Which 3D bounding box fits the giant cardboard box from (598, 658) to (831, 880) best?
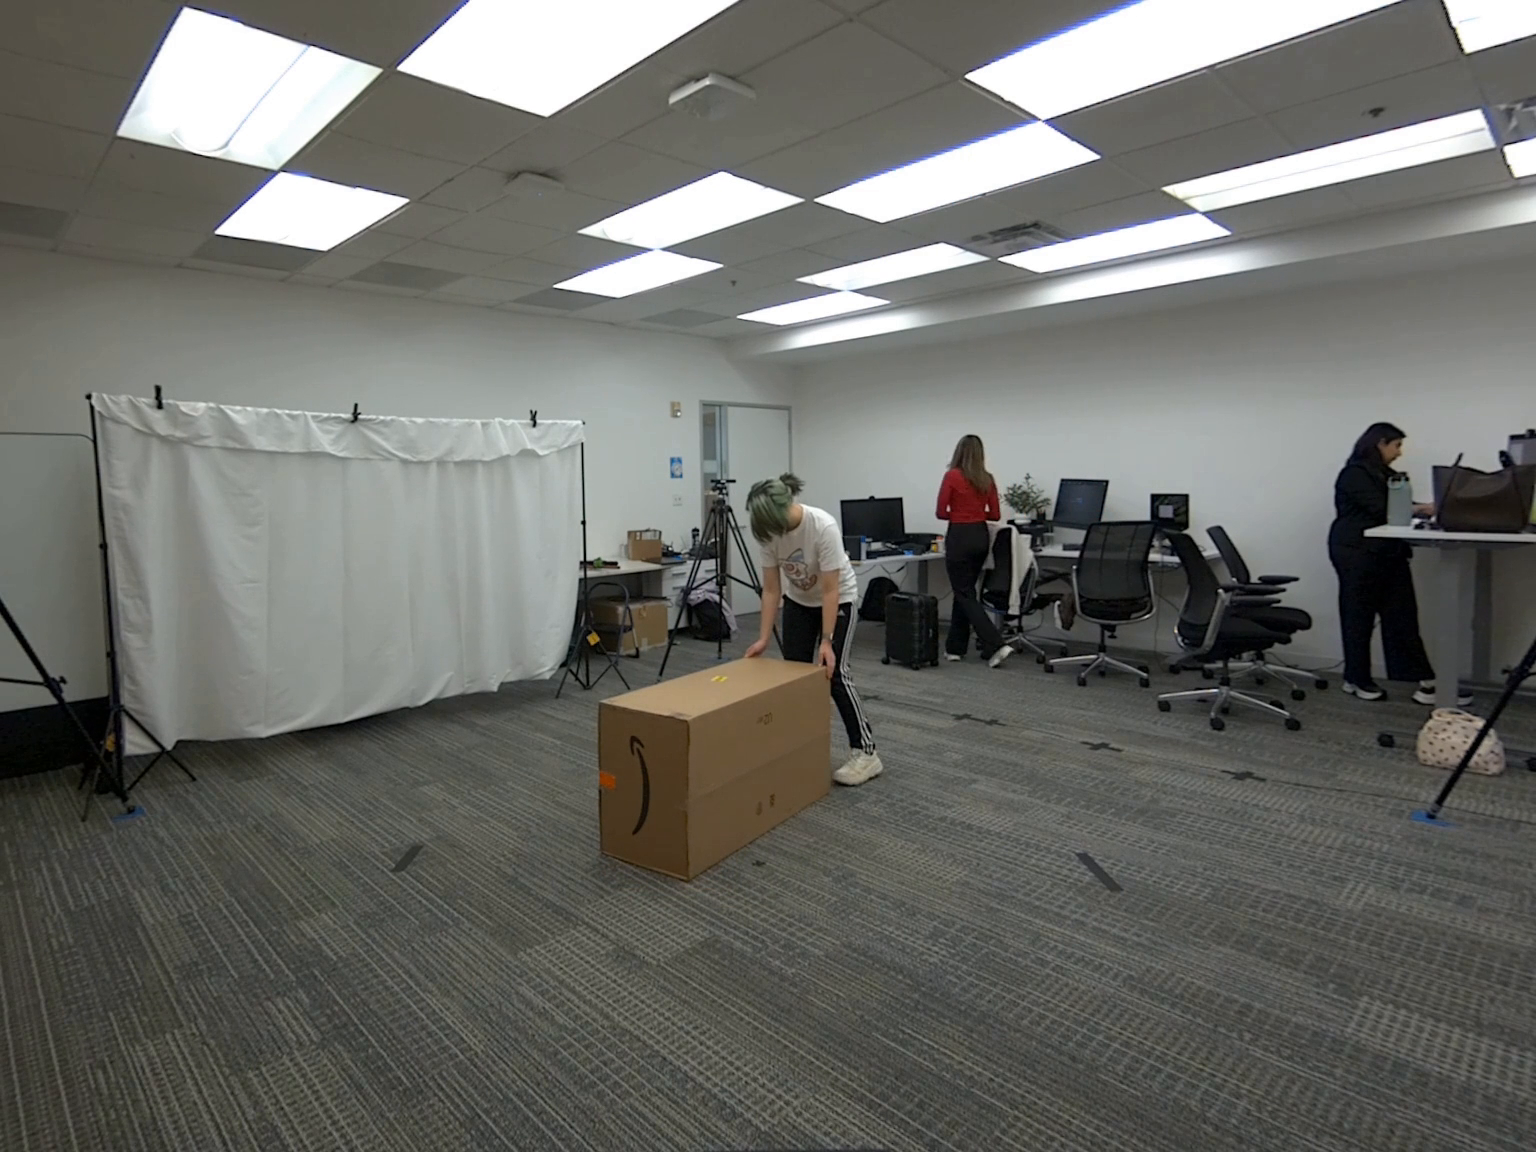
[{"bbox_3d":[-0.180,0.720,3.490,0.459,0.582,1.002,1,5,33],"label":"giant cardboard box"}]
